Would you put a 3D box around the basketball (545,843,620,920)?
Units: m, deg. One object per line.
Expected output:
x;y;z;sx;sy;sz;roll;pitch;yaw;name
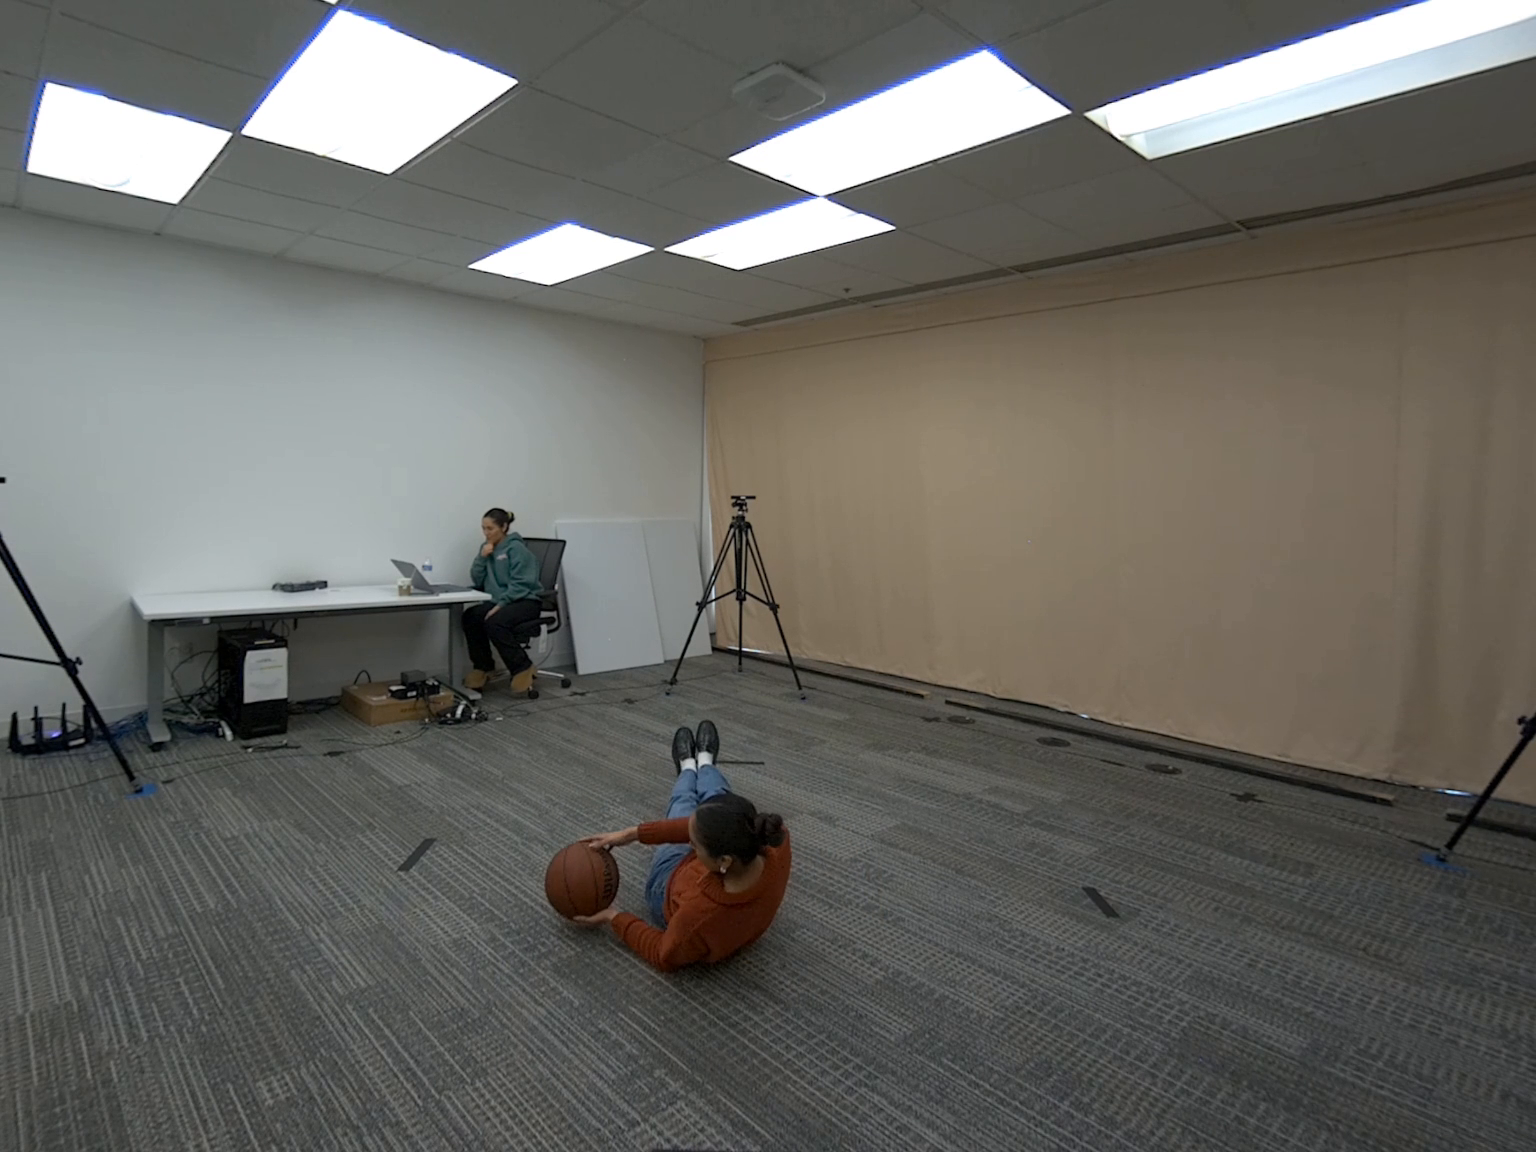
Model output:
-0.582;0.946;2.689;0.236;0.235;0.237;1;4;-1;basketball
